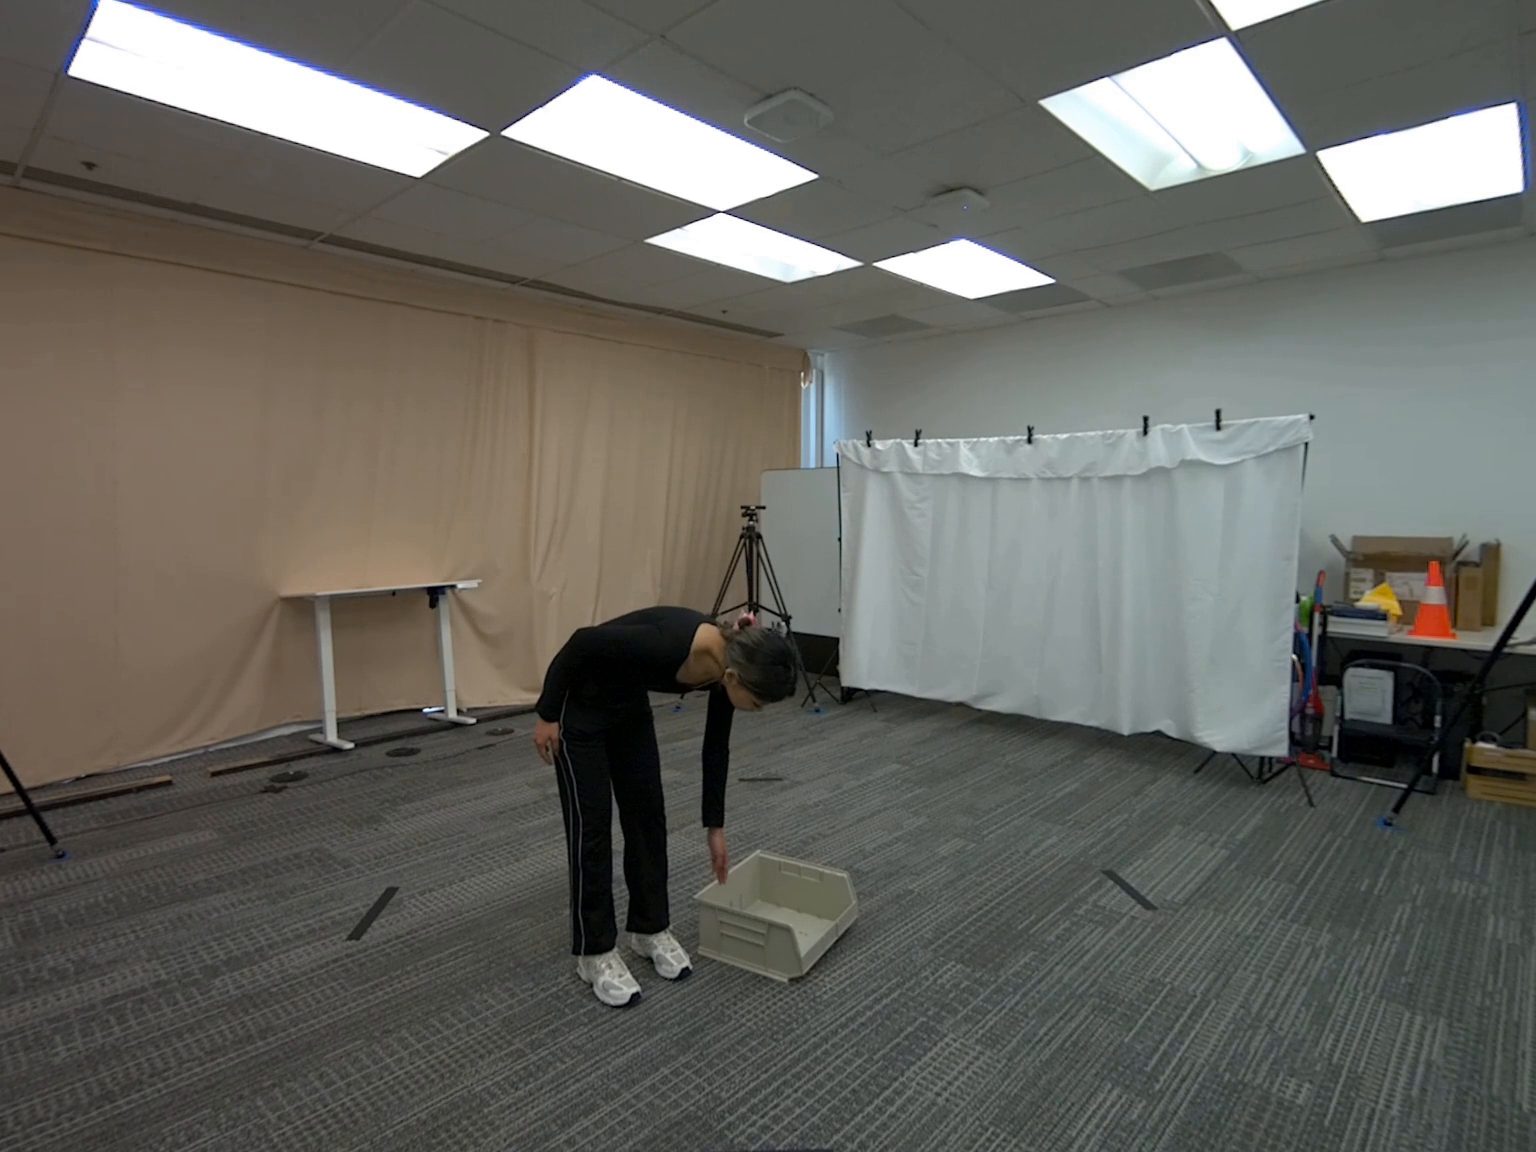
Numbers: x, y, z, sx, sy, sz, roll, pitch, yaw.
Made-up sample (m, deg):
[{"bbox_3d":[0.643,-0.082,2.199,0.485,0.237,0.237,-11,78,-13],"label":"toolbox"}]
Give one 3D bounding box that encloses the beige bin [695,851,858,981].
[{"bbox_3d":[0.034,1.082,2.696,0.388,0.188,0.411,1,5,30],"label":"beige bin"}]
